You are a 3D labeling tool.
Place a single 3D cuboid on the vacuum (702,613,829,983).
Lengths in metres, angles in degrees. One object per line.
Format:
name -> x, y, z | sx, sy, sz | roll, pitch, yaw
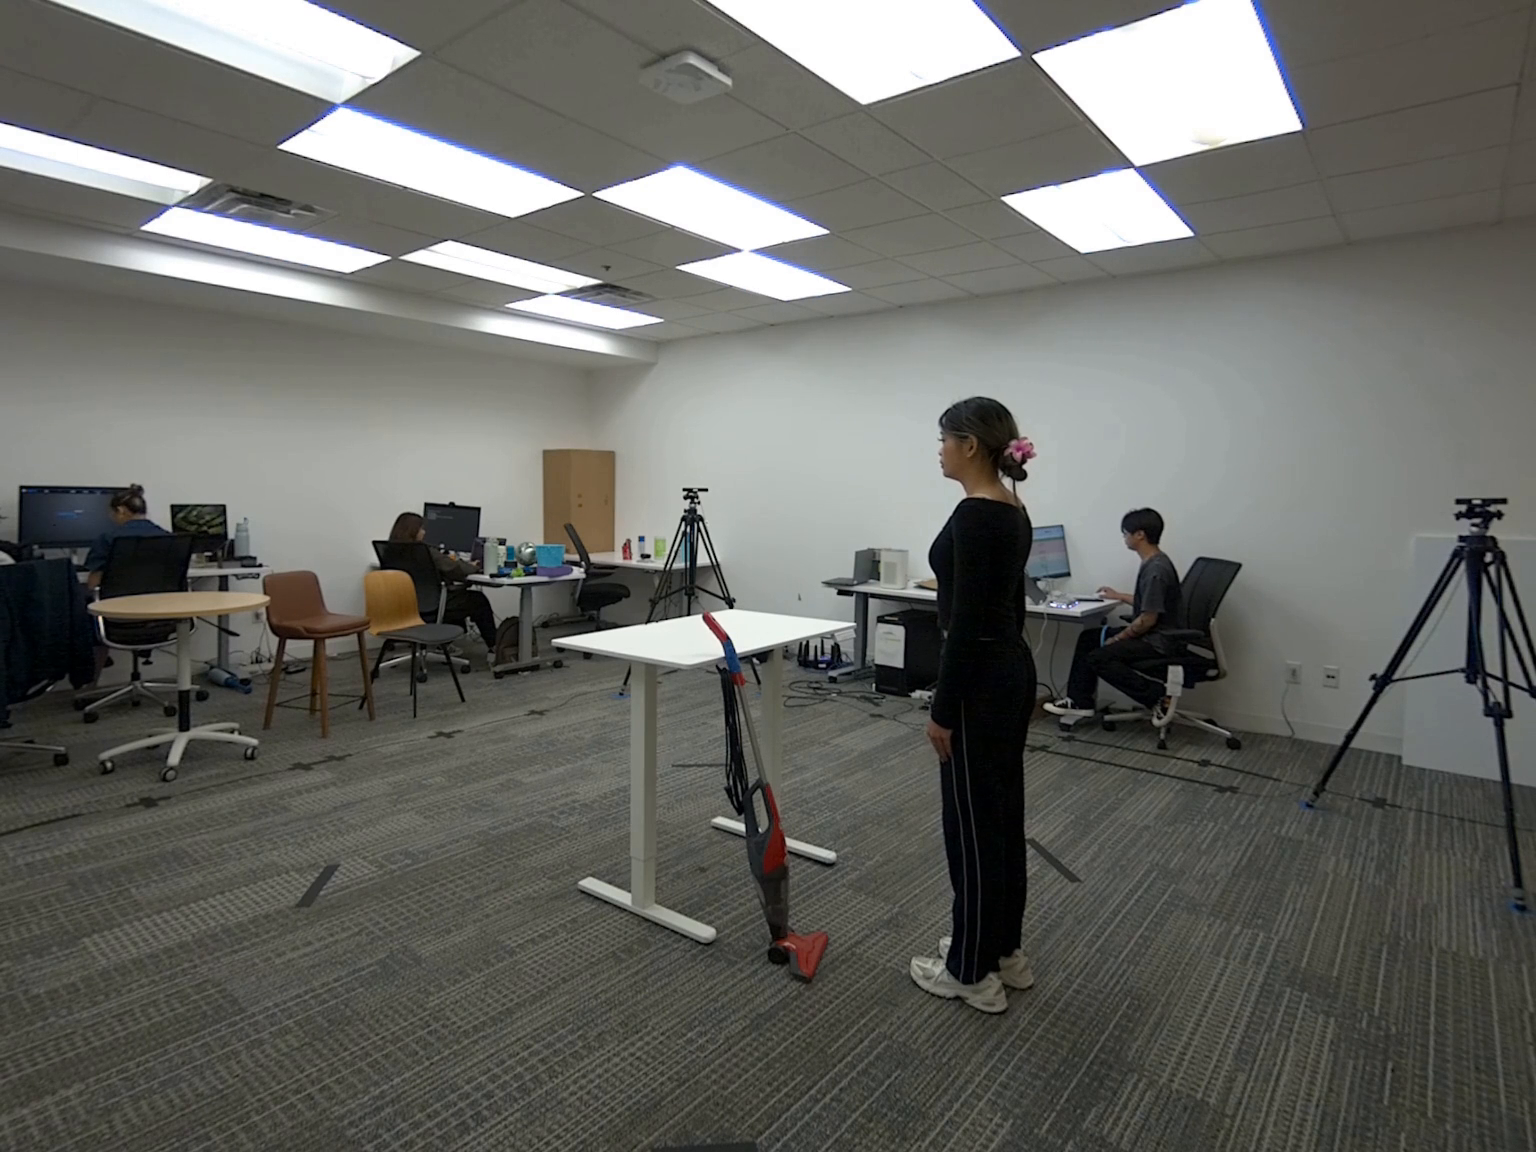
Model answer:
vacuum -> -0.056, 0.632, 2.562 | 0.146, 1.054, 0.247 | -17, -4, 22
